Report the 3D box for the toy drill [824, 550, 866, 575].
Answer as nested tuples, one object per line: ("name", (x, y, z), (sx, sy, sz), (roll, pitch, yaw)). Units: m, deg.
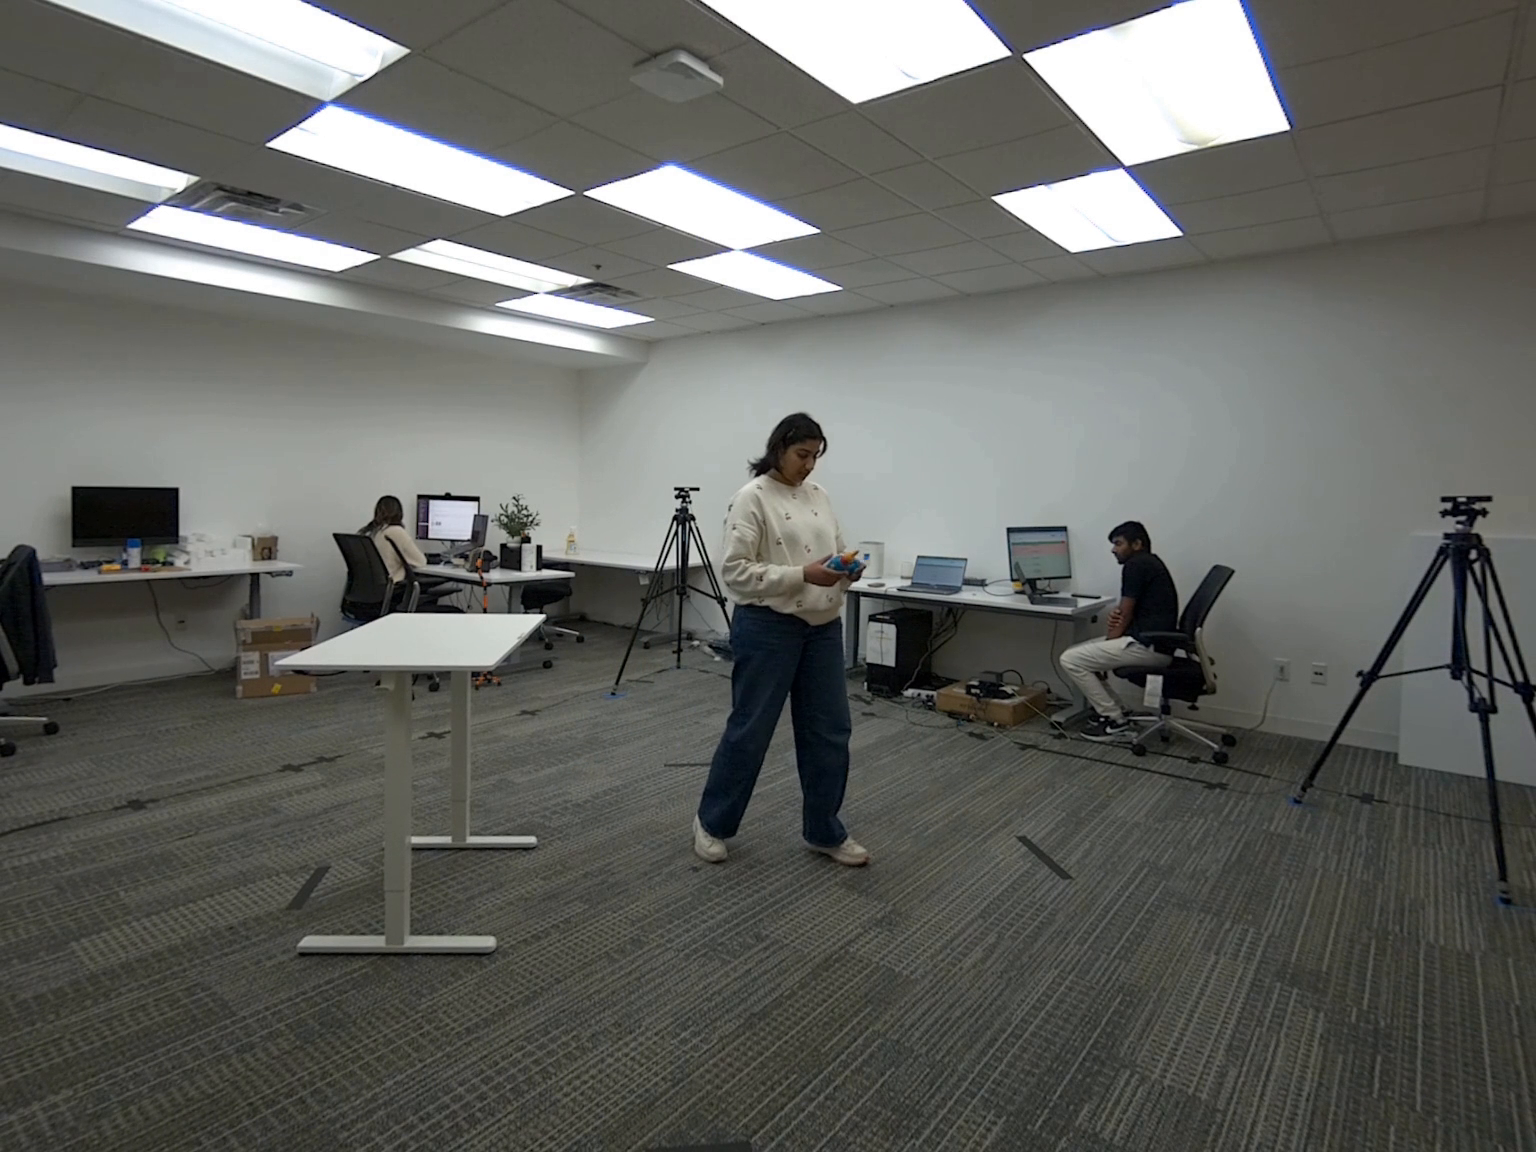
("toy drill", (0.267, -0.058, 2.995), (0.171, 0.062, 0.142), (-39, -18, 32))
